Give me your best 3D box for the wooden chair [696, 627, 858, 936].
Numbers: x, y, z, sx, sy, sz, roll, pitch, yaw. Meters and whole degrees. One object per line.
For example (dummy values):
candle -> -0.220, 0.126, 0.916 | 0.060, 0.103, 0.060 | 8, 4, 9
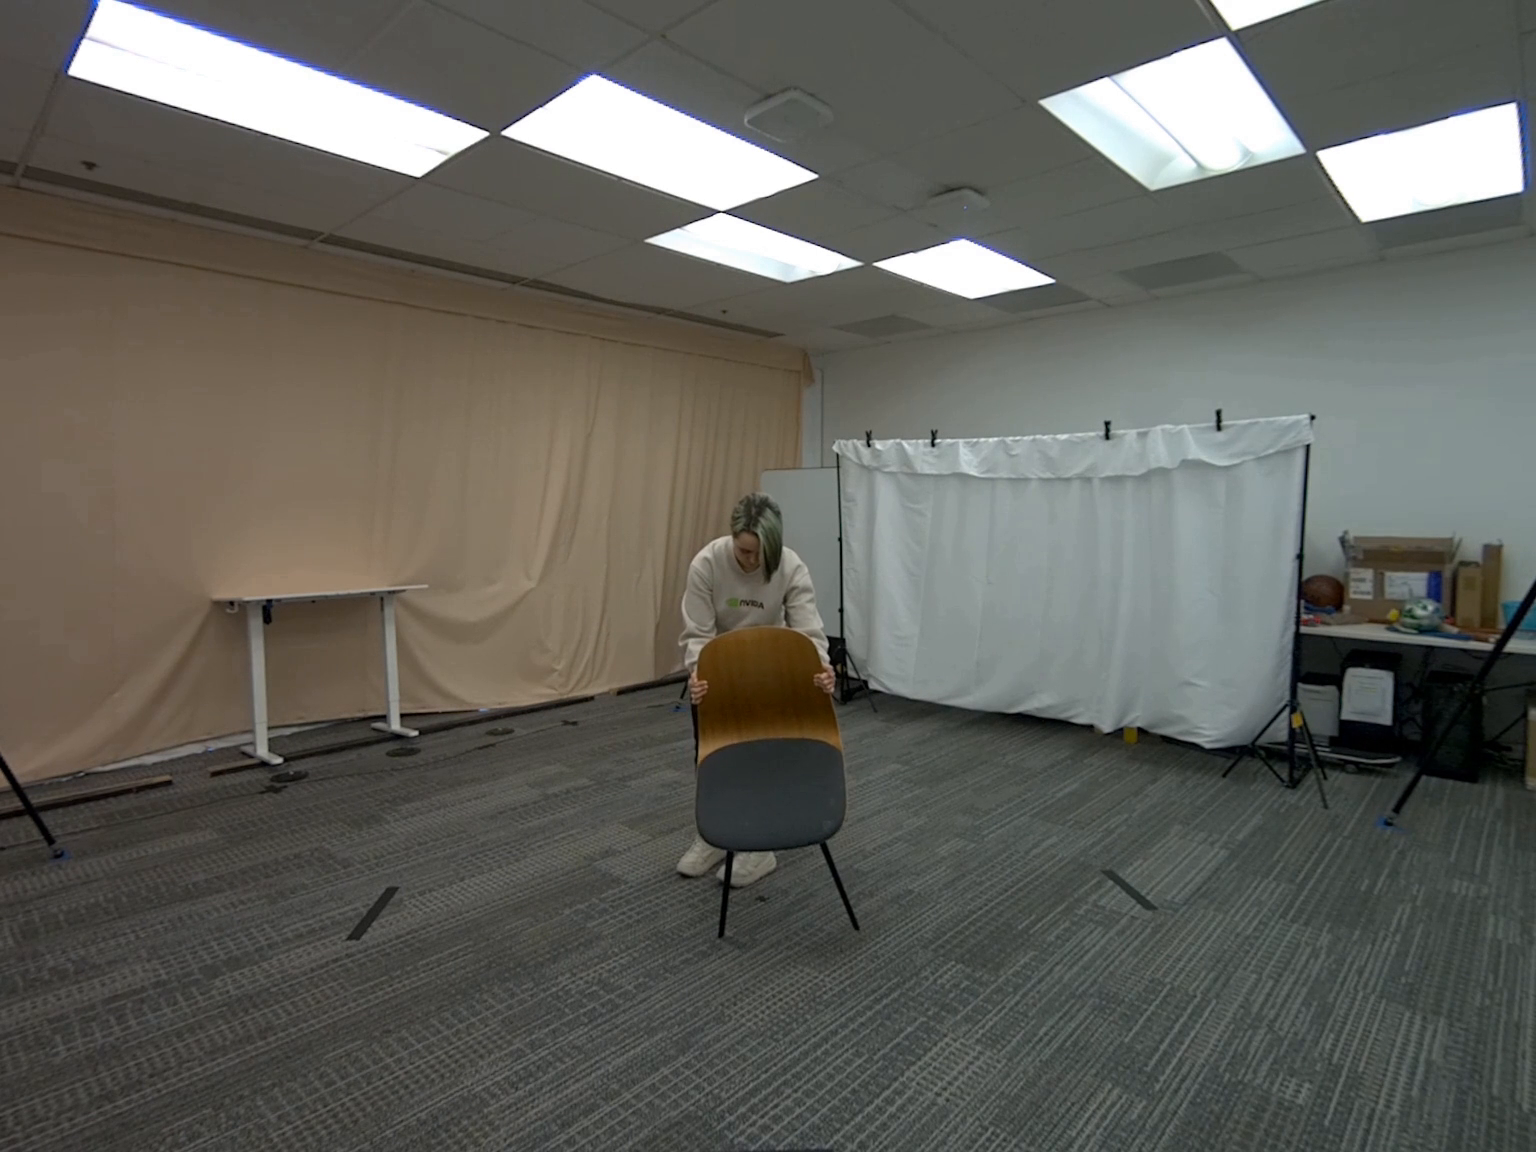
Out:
wooden chair -> 0.018, 0.666, 2.665 | 0.481, 0.862, 0.529 | -5, 26, 5
